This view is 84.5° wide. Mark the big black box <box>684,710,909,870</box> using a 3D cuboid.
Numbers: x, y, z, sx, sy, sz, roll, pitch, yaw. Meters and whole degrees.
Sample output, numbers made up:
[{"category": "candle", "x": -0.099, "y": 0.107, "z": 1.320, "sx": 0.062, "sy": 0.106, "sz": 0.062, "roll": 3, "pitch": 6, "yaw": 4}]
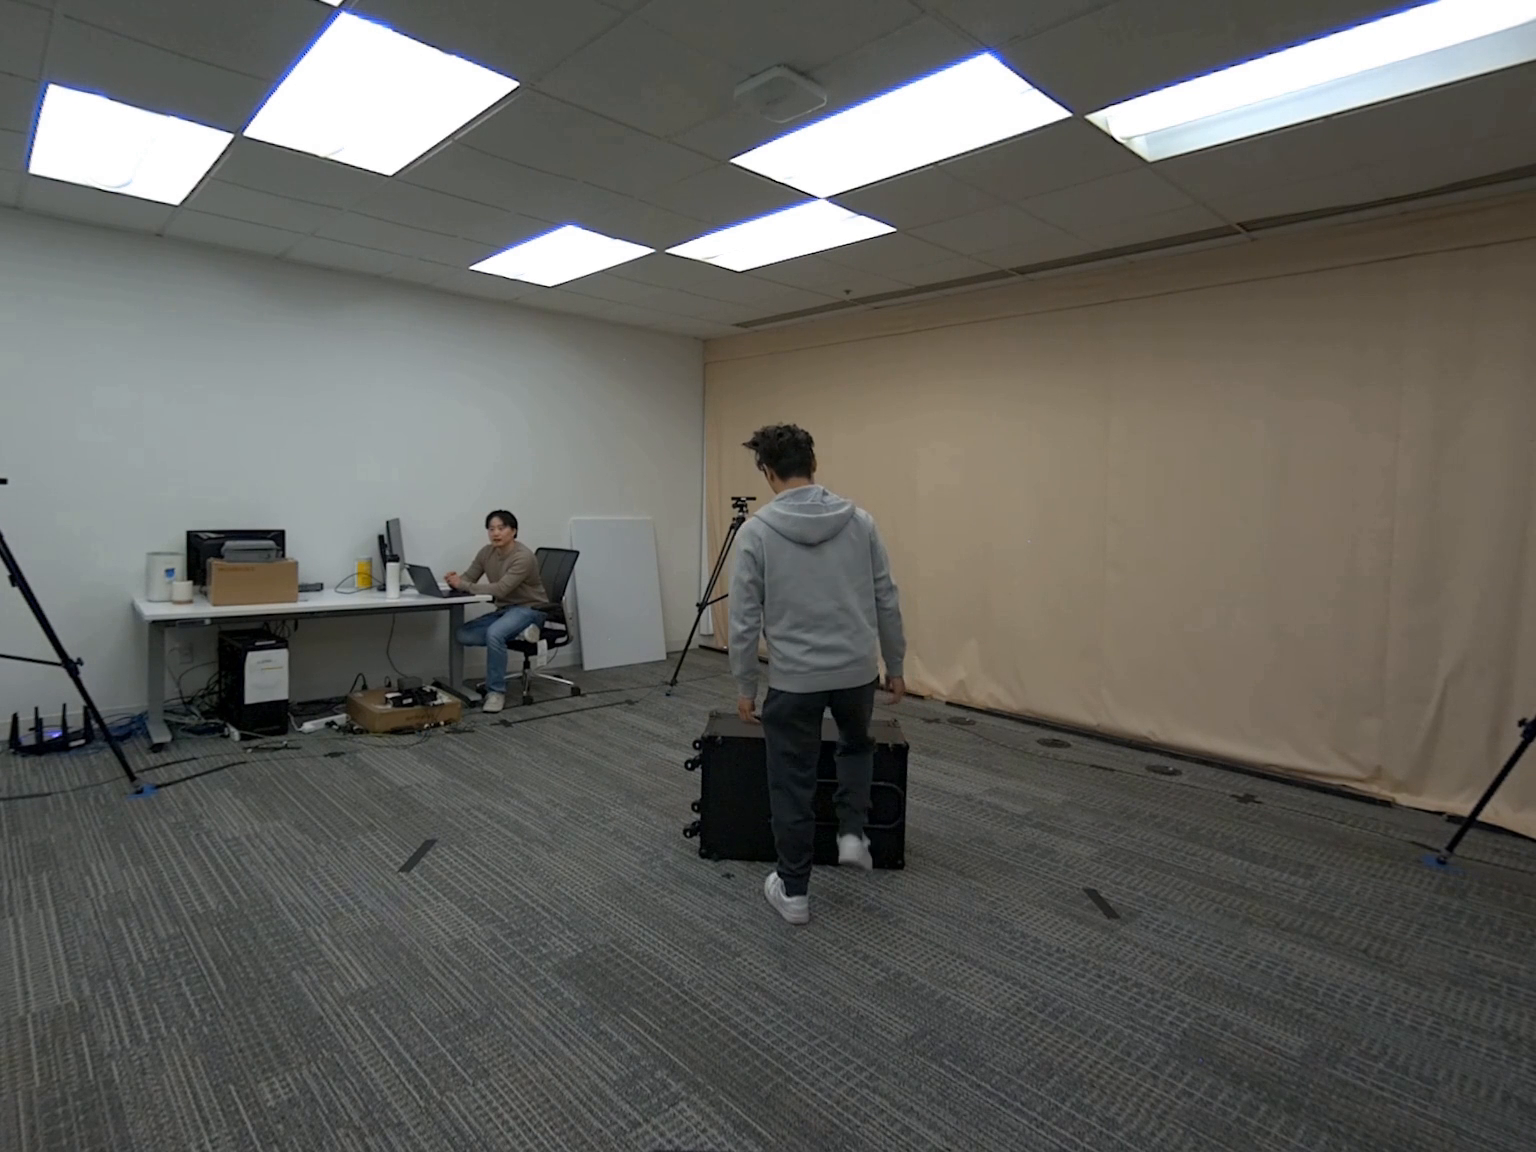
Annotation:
[{"category": "big black box", "x": 0.099, "y": 0.843, "z": 3.369, "sx": 0.865, "sy": 0.520, "sz": 0.396, "roll": 2, "pitch": 4, "yaw": 4}]
